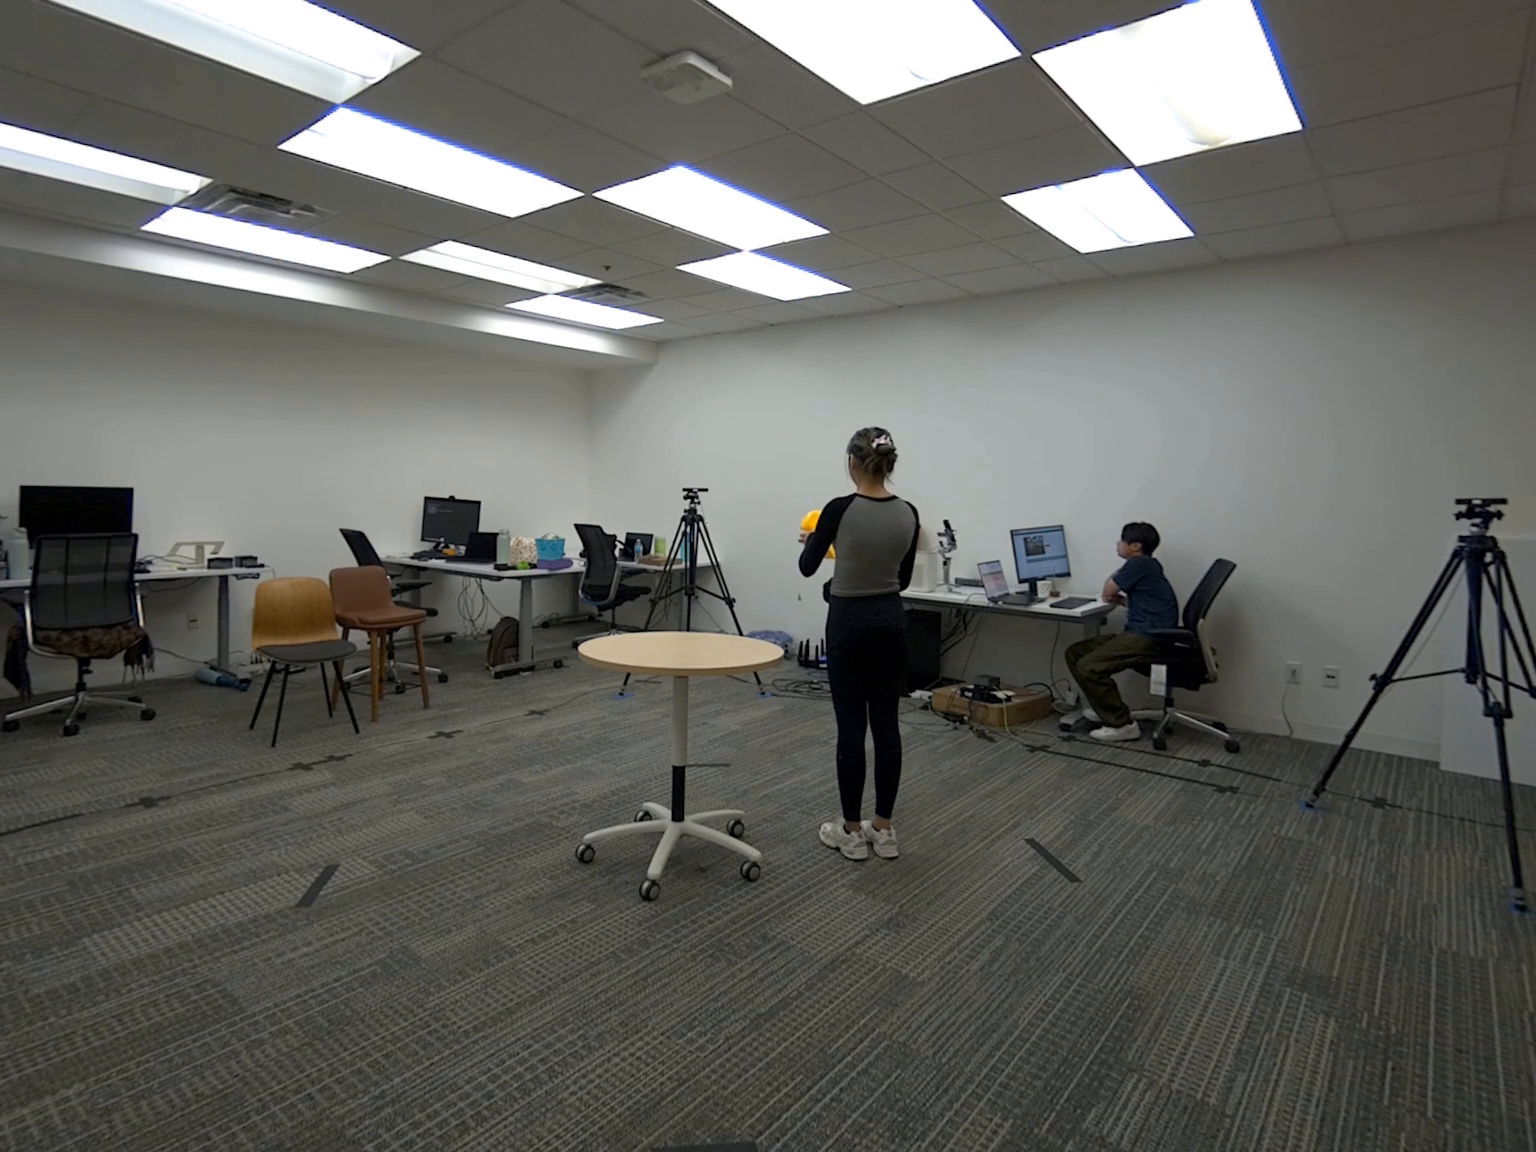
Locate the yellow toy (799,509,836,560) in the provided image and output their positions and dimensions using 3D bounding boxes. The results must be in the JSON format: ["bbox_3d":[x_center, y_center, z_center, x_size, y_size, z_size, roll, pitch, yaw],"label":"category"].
[{"bbox_3d":[0.238,-0.143,3.663,0.199,0.237,0.194,24,-43,-24],"label":"yellow toy"}]
